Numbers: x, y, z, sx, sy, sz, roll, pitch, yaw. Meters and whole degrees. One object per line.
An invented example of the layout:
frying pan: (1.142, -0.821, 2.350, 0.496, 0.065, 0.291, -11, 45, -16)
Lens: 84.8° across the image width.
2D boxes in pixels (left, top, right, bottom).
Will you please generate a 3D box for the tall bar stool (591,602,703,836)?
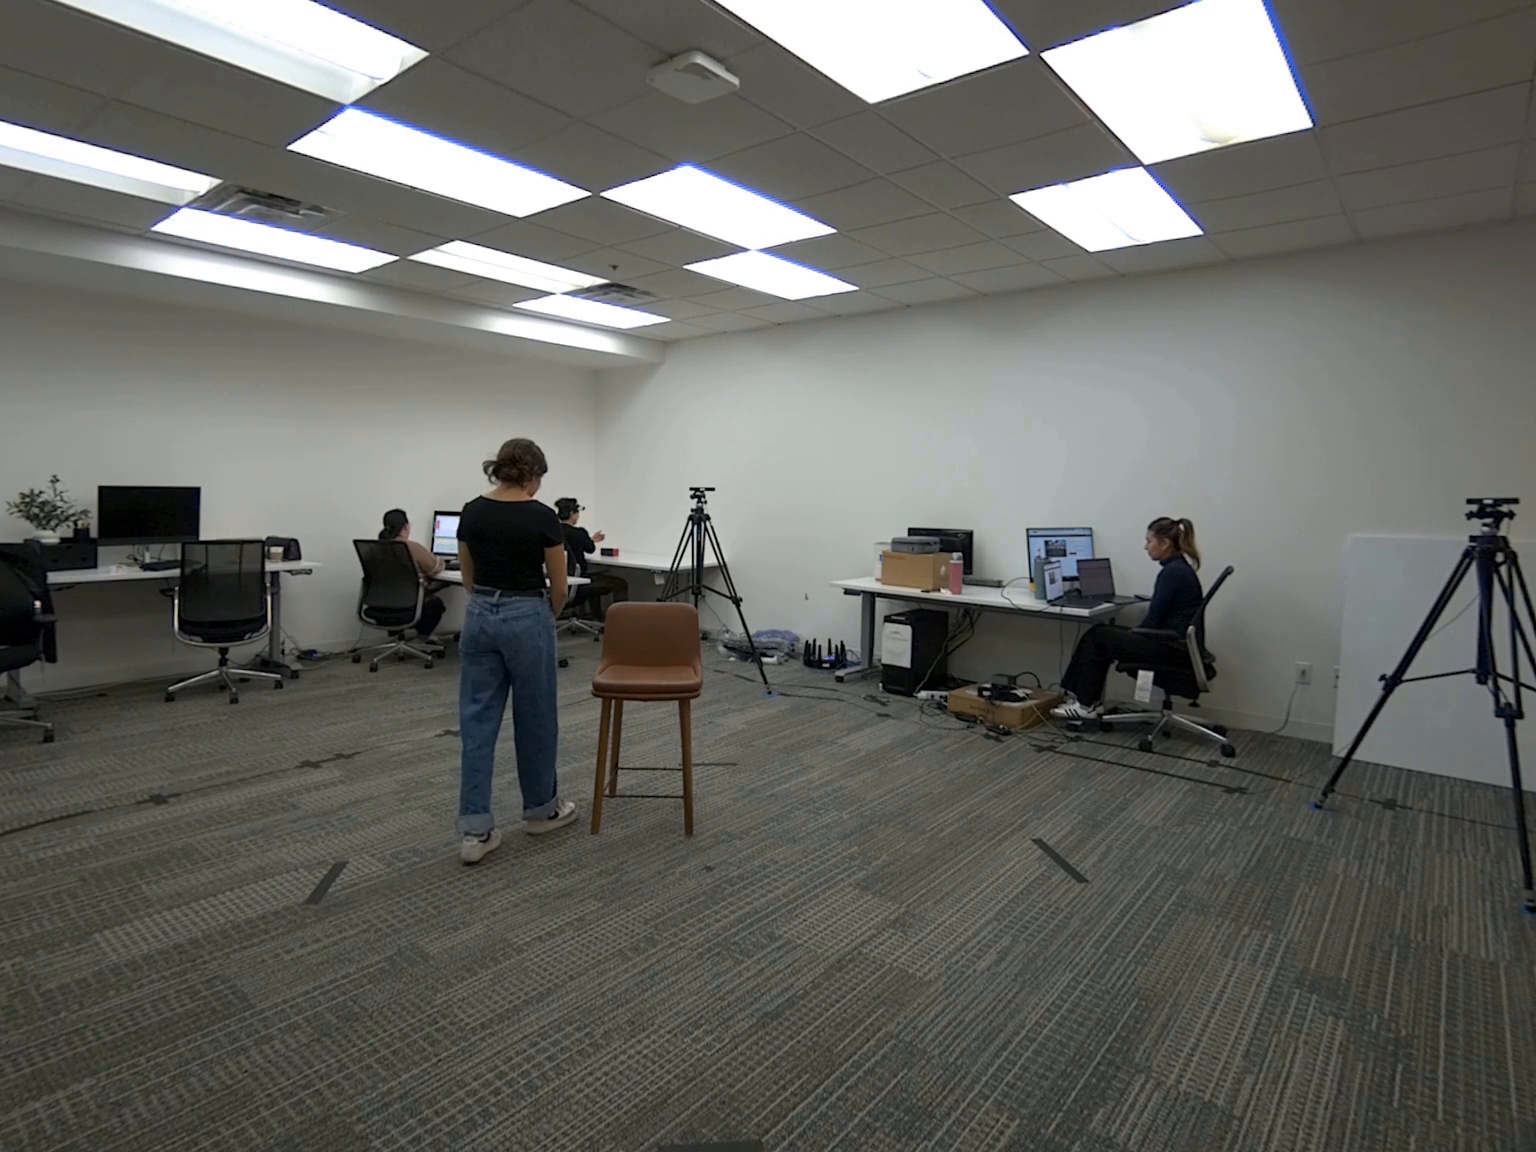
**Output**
tall bar stool: (-0.522, 0.576, 3.607, 0.456, 0.889, 0.469, 1, 2, -1)
